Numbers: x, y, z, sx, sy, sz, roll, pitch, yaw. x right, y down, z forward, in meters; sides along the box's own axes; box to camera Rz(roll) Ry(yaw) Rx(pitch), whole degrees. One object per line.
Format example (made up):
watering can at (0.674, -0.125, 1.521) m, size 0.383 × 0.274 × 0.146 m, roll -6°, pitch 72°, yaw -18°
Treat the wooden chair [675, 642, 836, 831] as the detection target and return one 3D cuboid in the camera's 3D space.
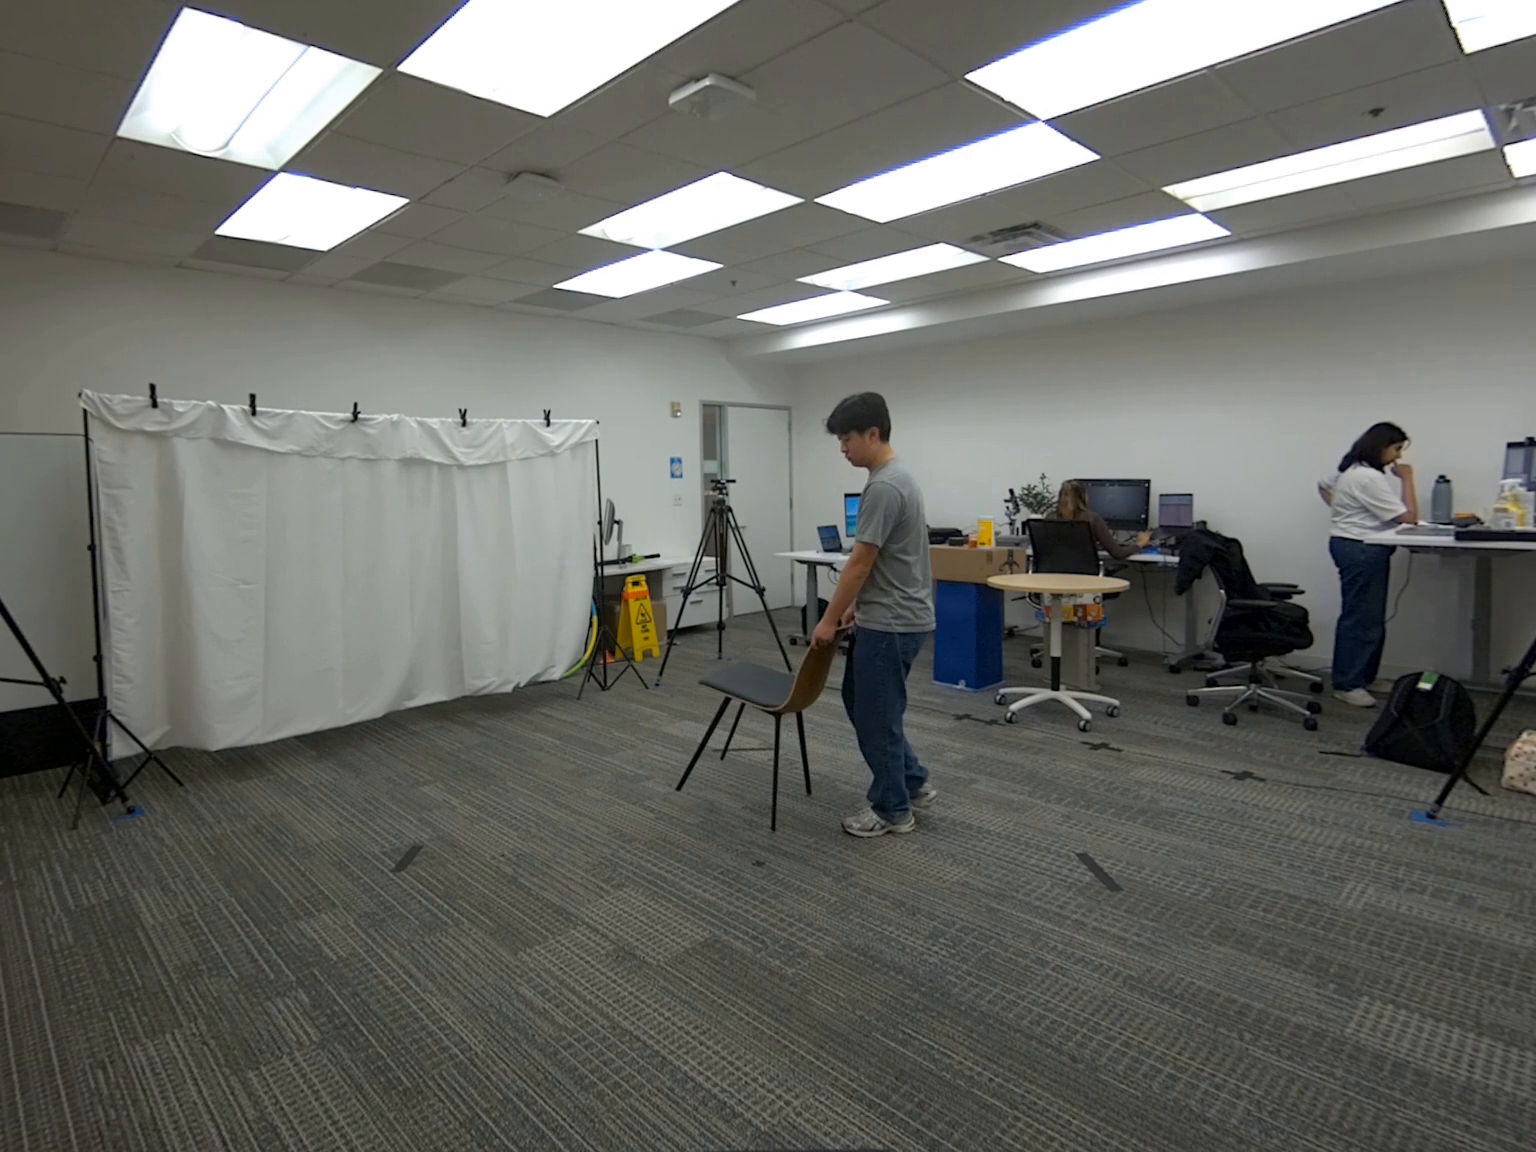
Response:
wooden chair at (-0.018, 0.523, 3.600) m, size 0.536 × 0.871 × 0.469 m, roll 20°, pitch 12°, yaw 21°
